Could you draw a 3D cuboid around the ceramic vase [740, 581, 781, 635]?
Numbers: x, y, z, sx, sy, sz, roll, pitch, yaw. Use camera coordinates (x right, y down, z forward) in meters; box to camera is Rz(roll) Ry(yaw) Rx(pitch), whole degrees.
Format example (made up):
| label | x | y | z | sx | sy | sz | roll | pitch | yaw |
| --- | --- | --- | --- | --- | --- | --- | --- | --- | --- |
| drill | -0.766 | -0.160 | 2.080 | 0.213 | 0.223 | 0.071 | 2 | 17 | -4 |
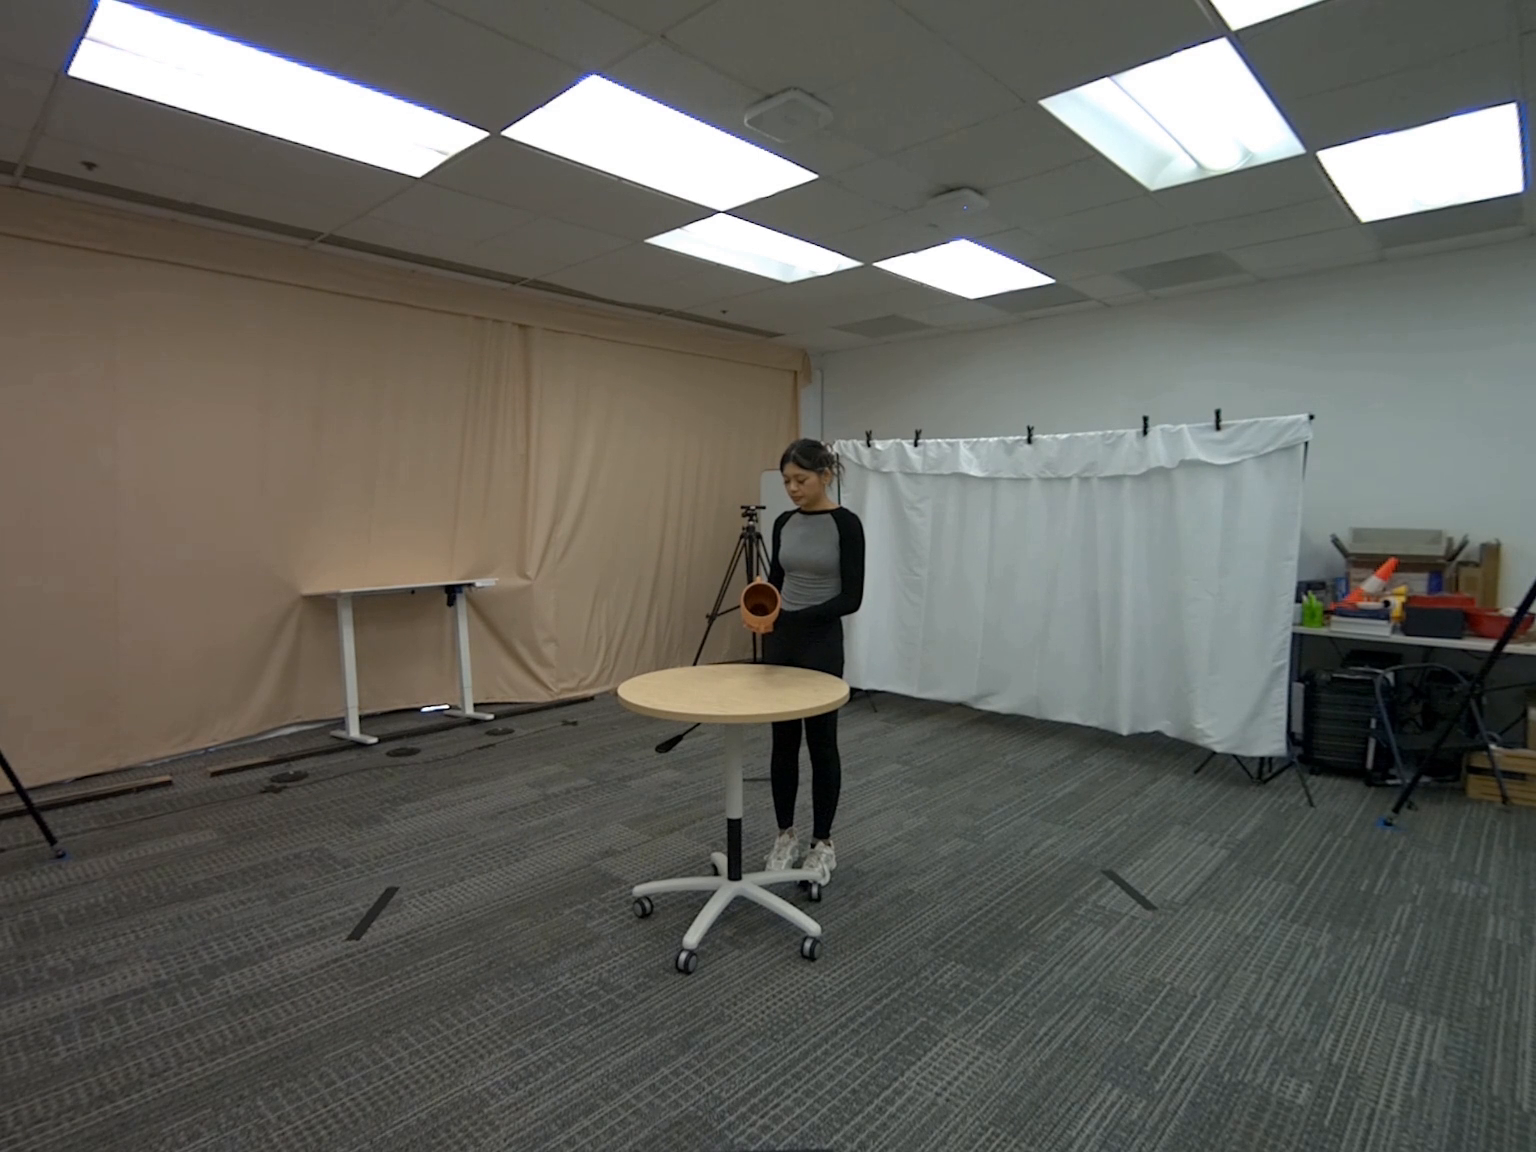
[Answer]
| label | x | y | z | sx | sy | sz | roll | pitch | yaw |
| --- | --- | --- | --- | --- | --- | --- | --- | --- | --- |
| ceramic vase | -0.023 | 0.117 | 2.928 | 0.137 | 0.158 | 0.217 | 36 | -19 | 11 |
